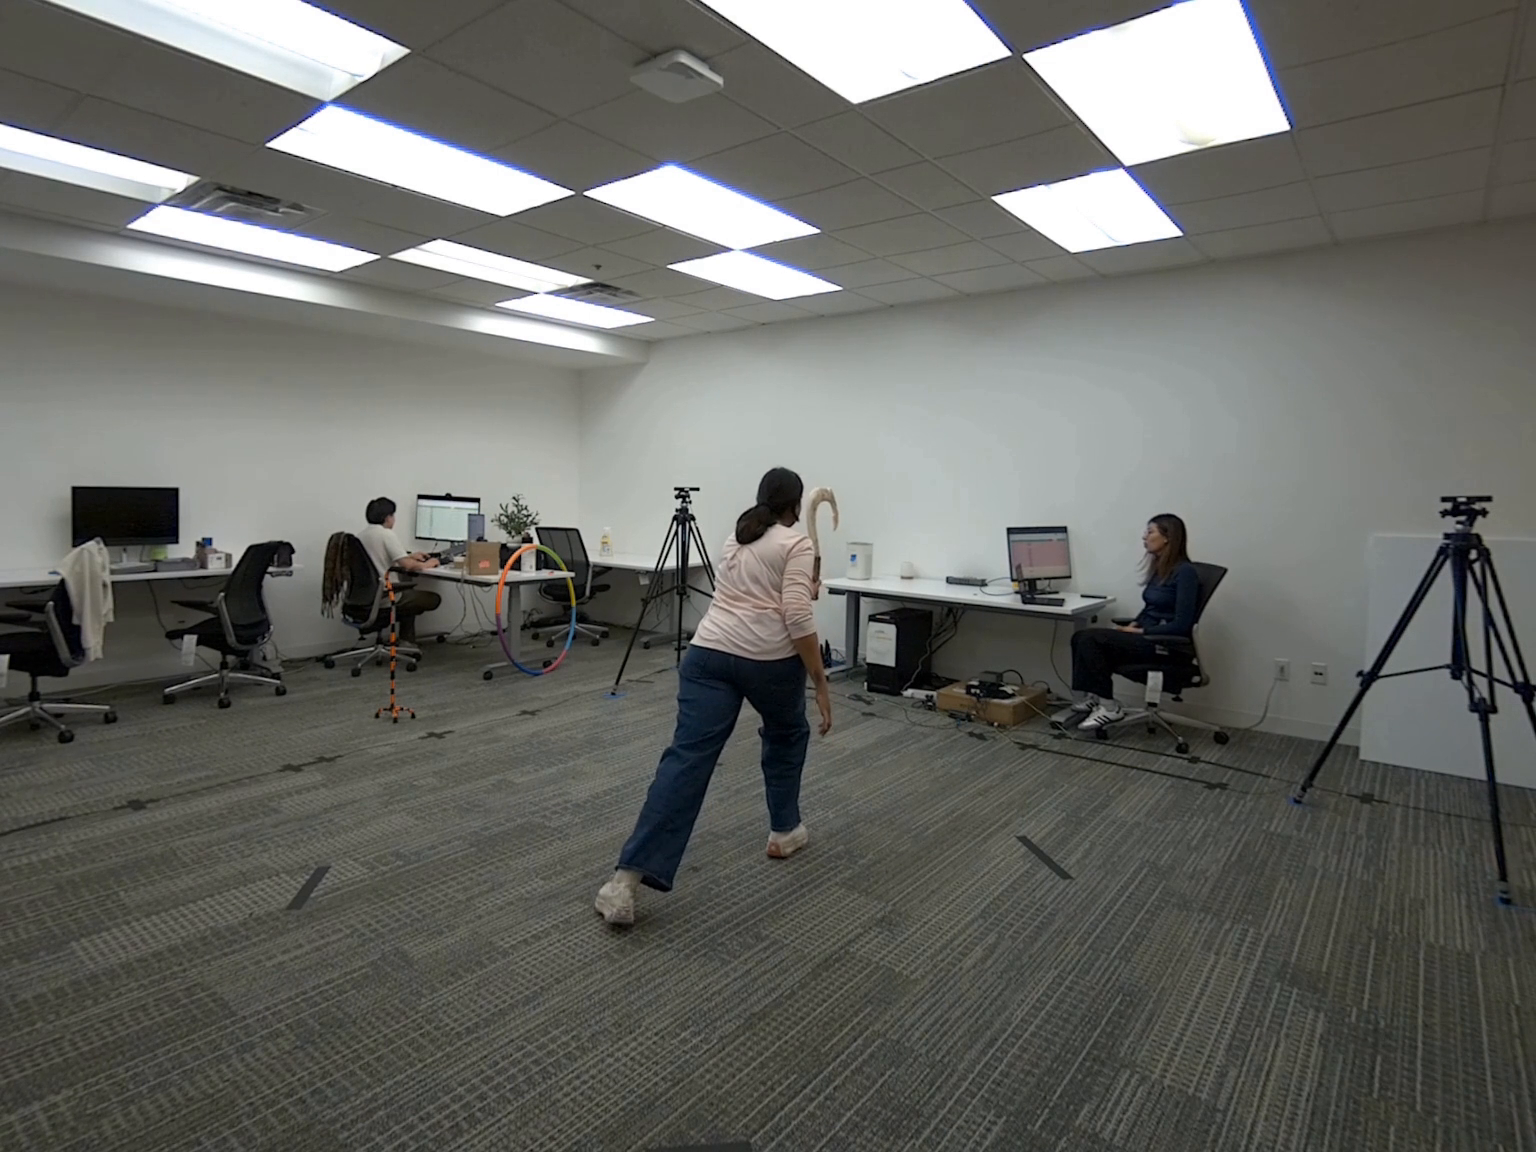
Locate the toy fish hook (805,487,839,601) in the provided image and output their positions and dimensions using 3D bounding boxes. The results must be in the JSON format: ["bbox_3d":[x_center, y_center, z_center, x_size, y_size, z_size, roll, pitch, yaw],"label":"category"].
[{"bbox_3d":[0.244,-0.155,3.828,0.217,0.506,0.050,1,0,-43],"label":"toy fish hook"}]
